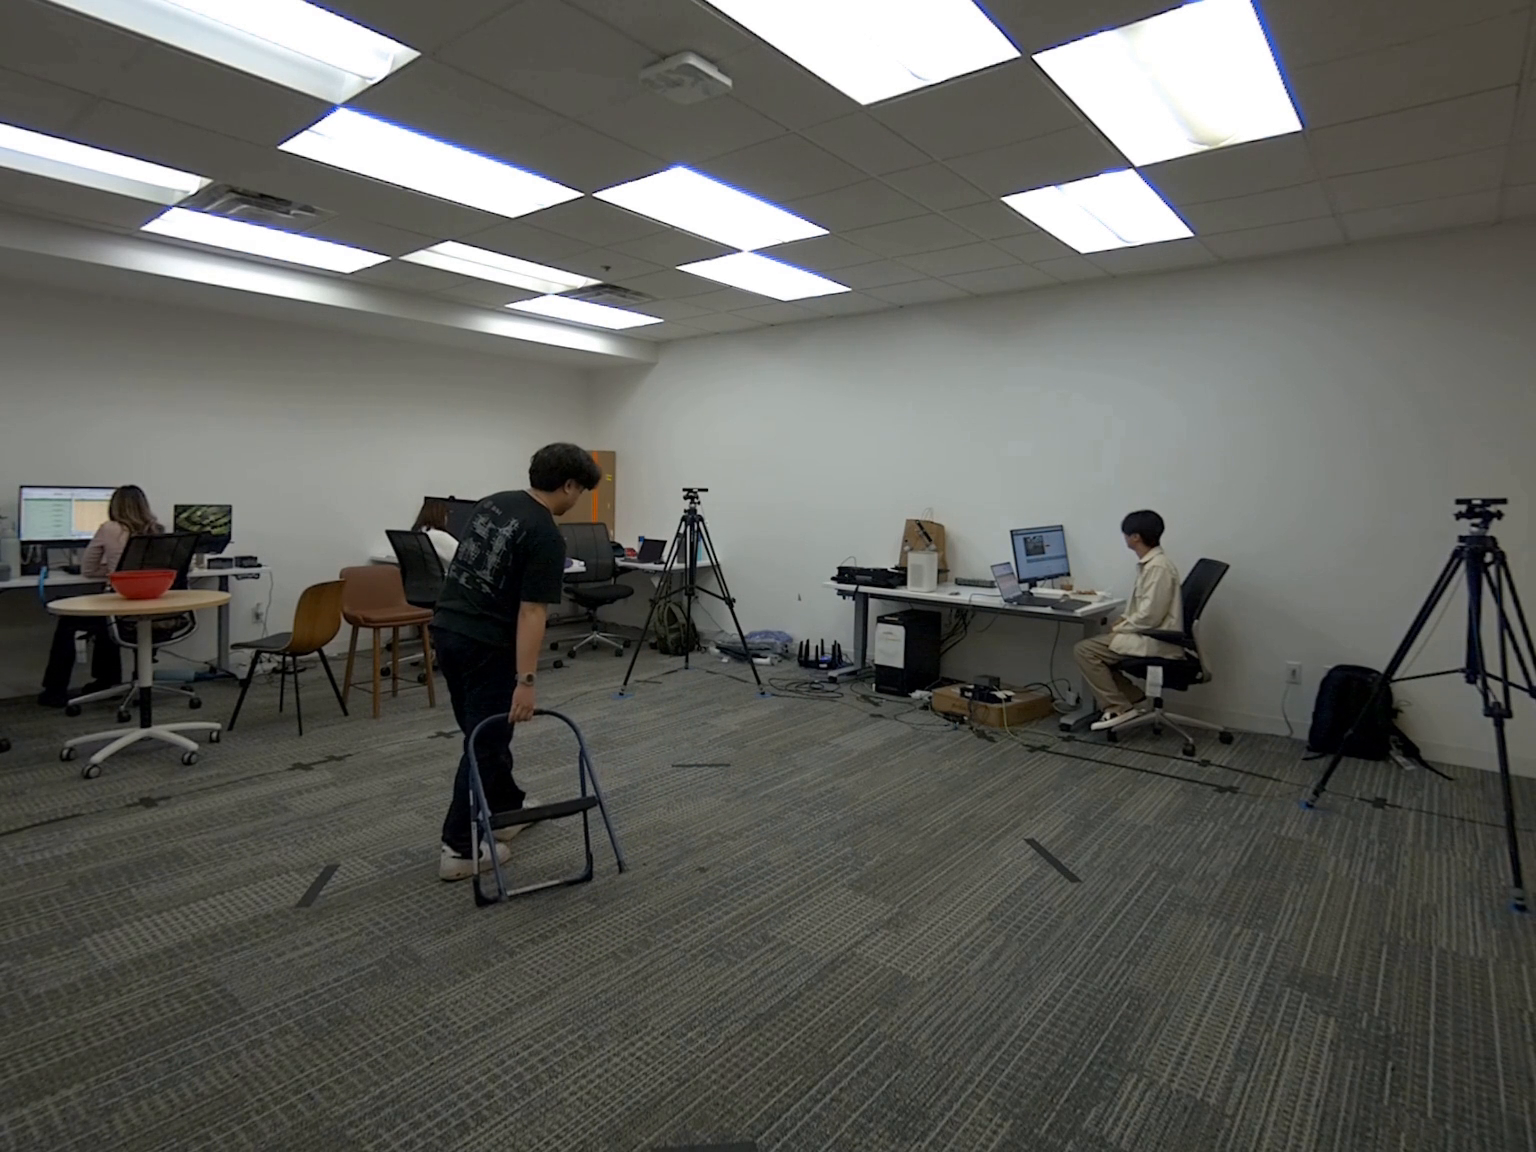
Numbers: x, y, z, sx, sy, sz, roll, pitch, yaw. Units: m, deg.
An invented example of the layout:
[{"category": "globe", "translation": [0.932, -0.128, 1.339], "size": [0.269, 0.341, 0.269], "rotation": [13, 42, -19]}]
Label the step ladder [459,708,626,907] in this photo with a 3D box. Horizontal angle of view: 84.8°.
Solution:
[{"category": "step ladder", "translation": [-0.788, 0.743, 2.876], "size": [0.418, 0.620, 0.351], "rotation": [-1, -23, -33]}]
